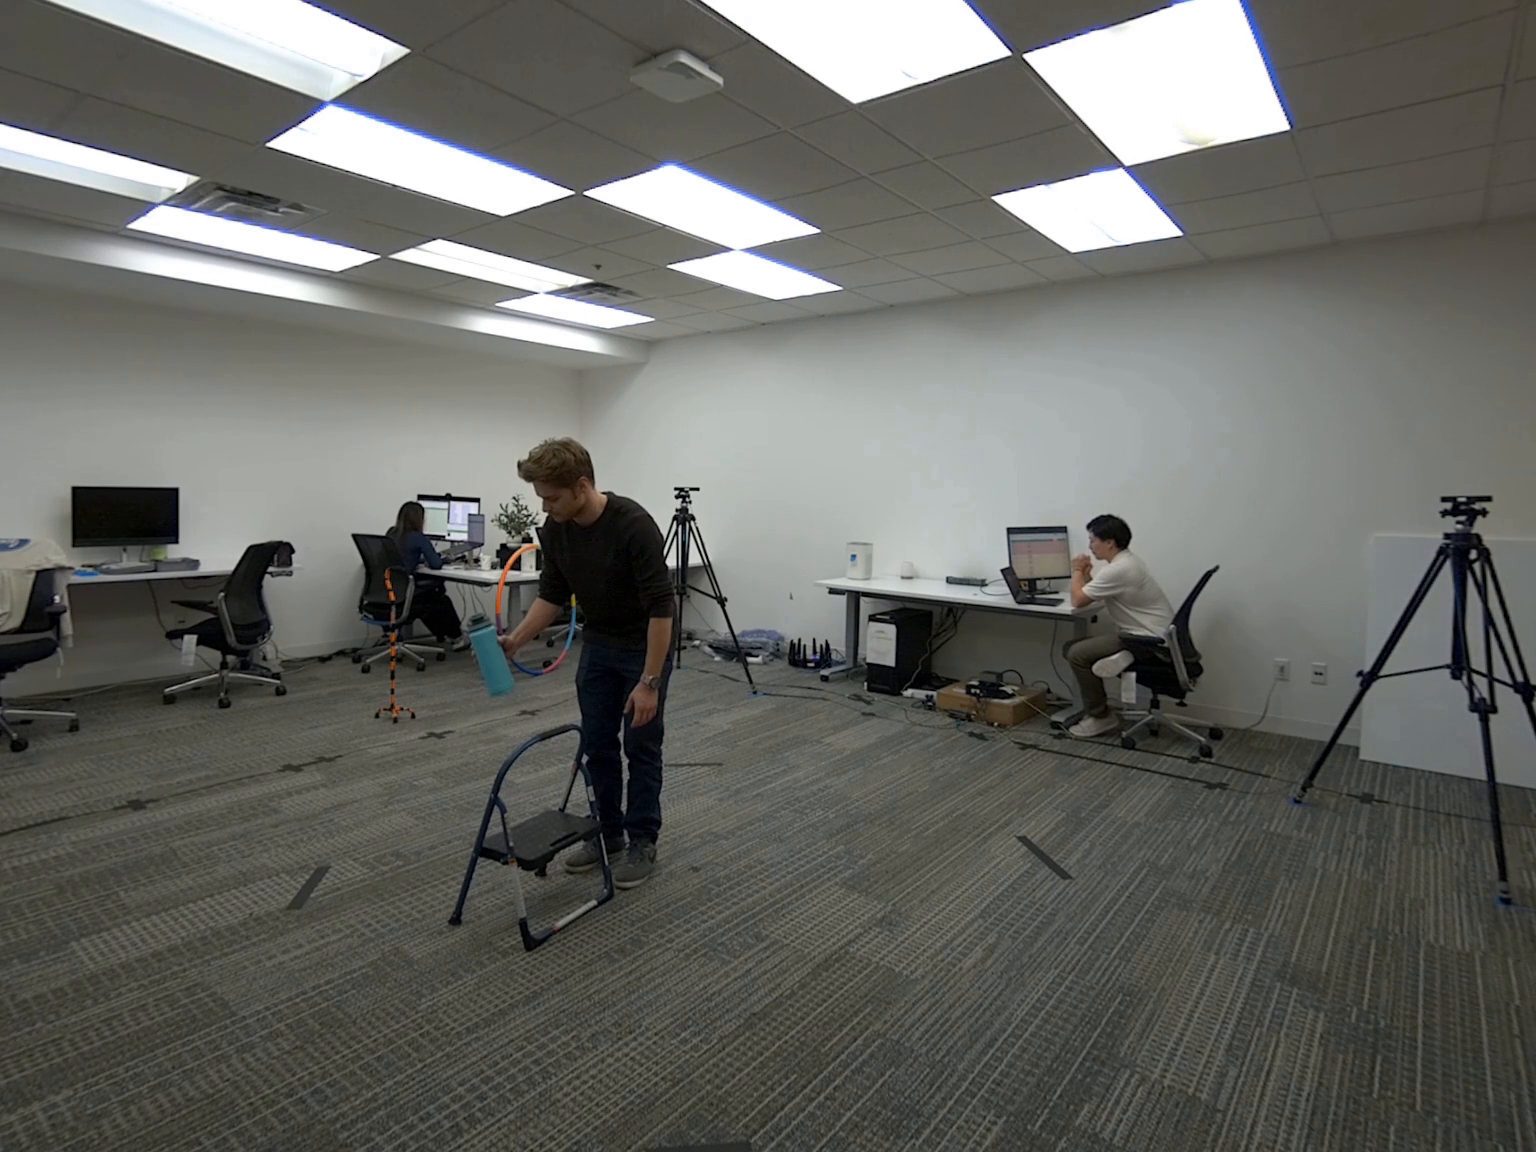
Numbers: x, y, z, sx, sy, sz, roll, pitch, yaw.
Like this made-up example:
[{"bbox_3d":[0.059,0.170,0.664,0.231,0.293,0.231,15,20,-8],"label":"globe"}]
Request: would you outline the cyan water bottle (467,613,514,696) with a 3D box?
[{"bbox_3d":[-0.955,0.259,2.876,0.092,0.282,0.093,-20,3,0],"label":"cyan water bottle"}]
